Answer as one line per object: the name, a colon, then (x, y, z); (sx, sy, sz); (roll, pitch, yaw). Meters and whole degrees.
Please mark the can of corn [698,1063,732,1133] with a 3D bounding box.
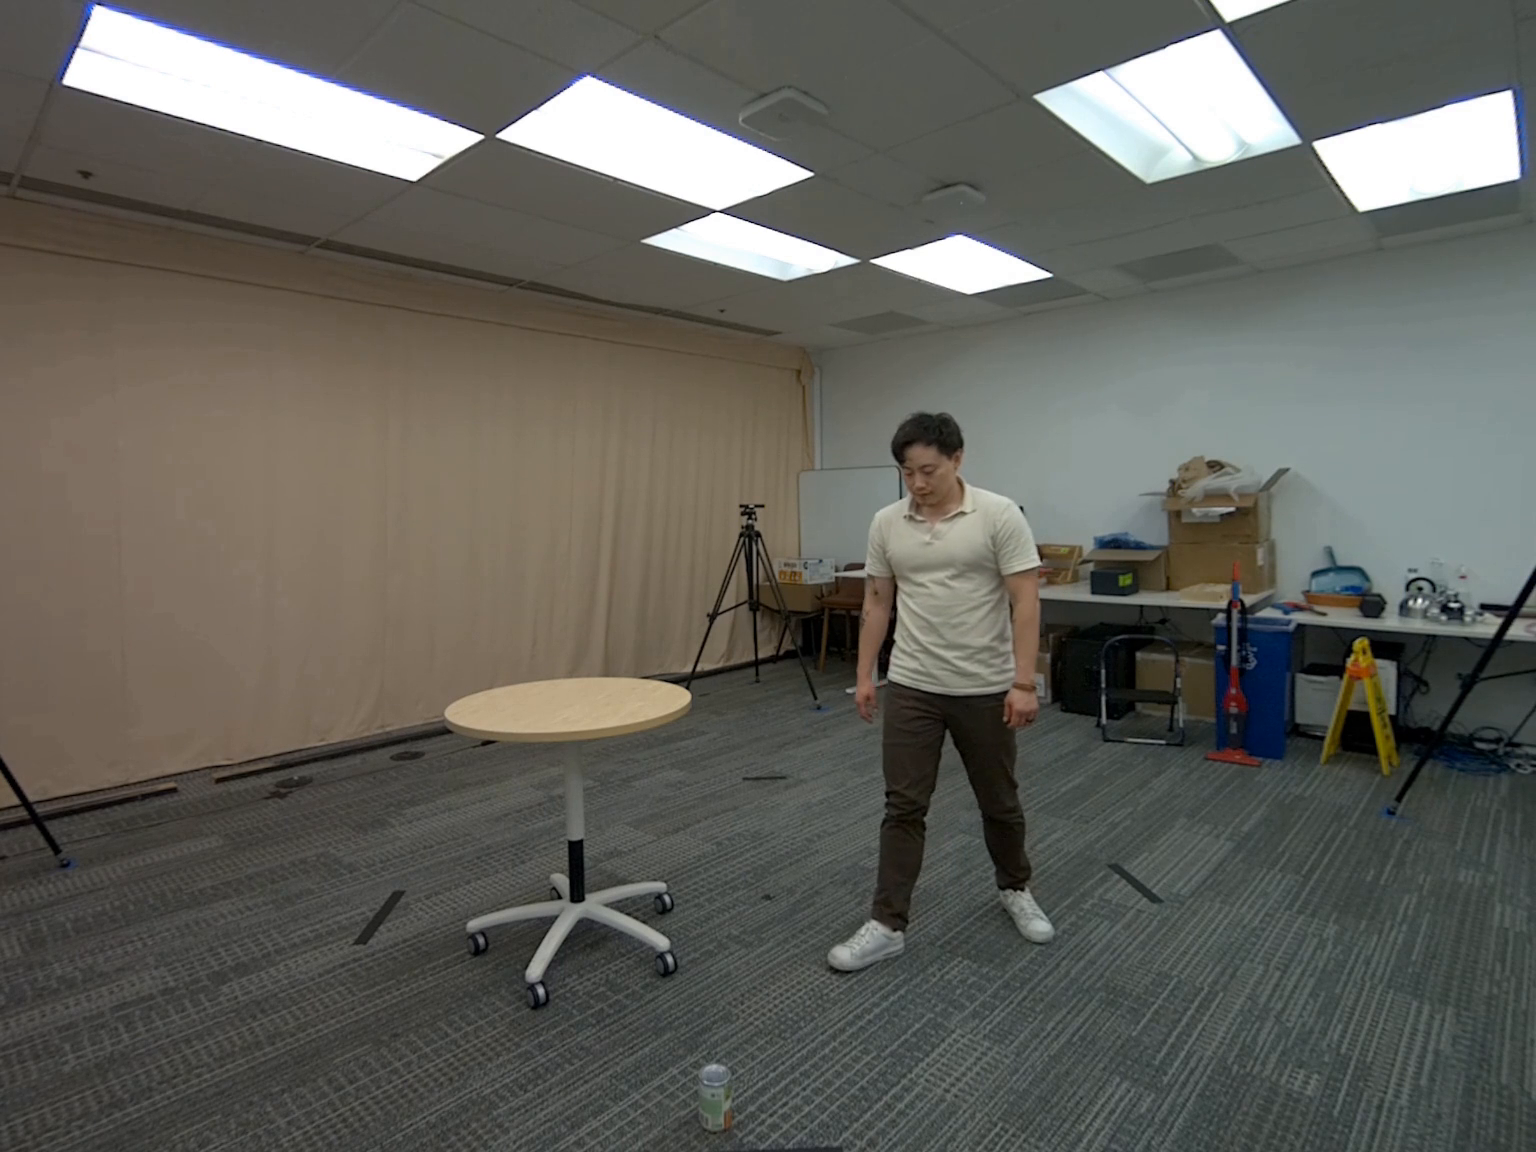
can of corn: (-0.116, 1.182, 1.896); (0.074, 0.110, 0.074); (0, 6, -2)
